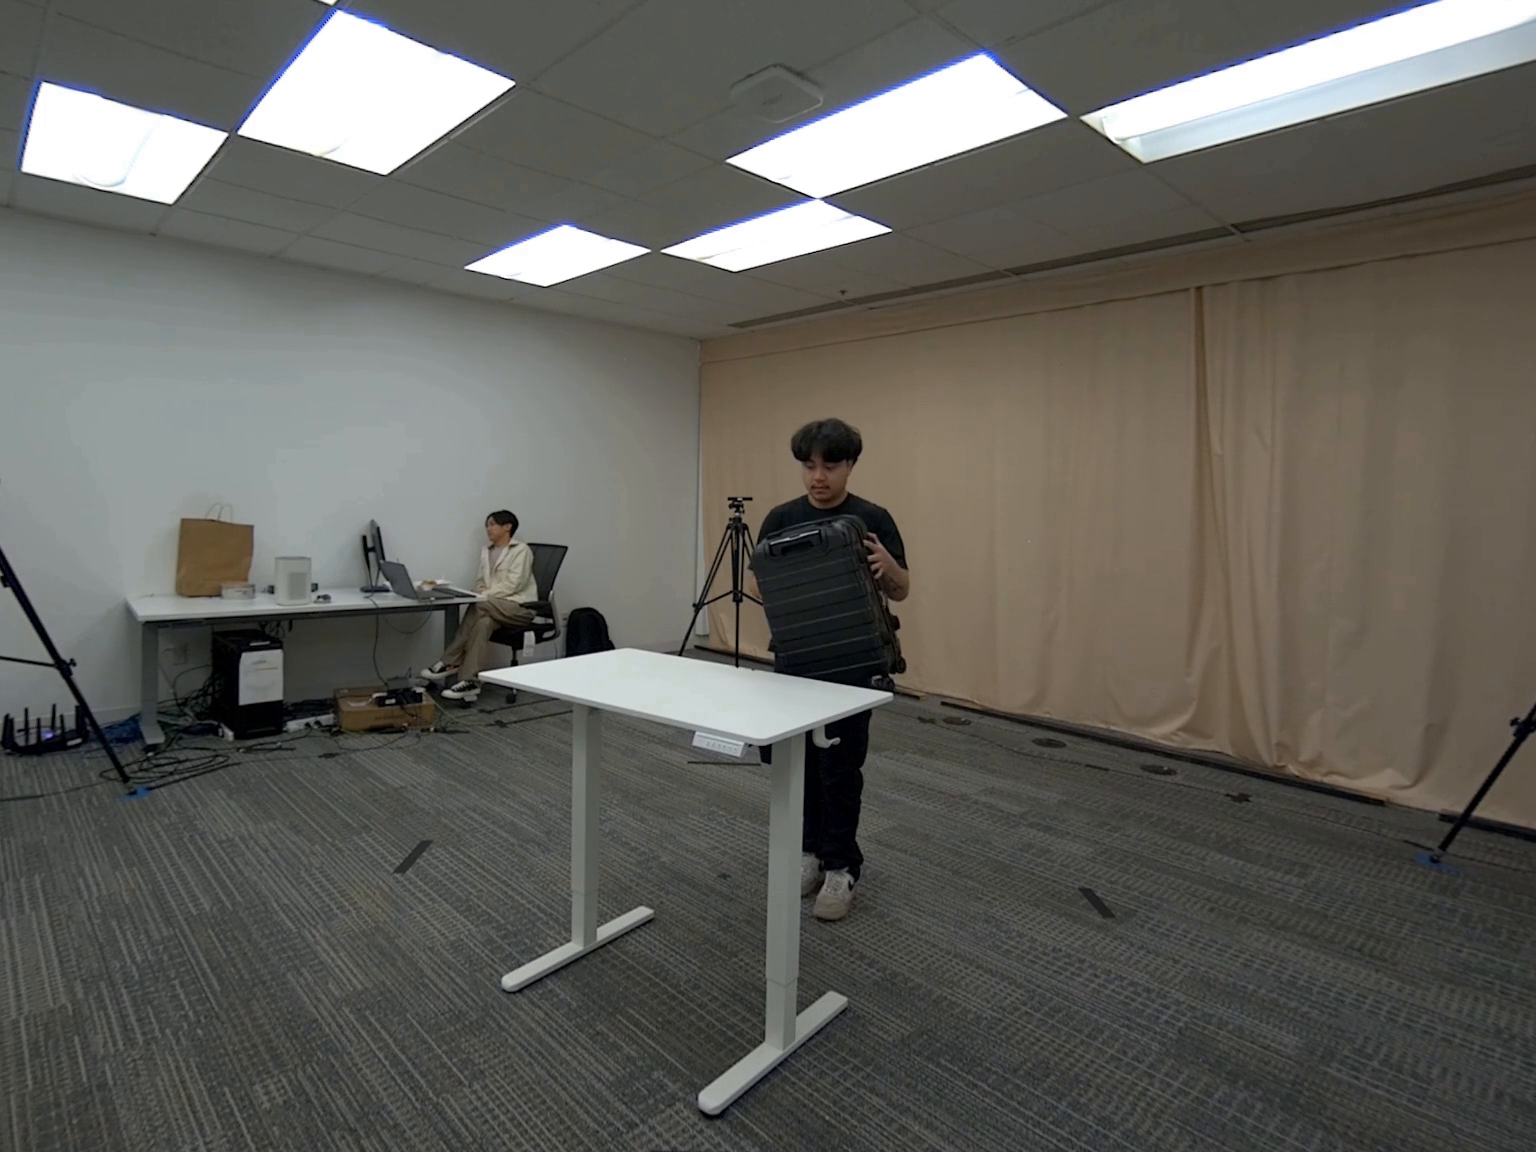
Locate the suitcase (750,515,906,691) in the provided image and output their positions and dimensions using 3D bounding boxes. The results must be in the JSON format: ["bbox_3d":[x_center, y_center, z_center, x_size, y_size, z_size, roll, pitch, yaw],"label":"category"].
[{"bbox_3d":[0.173,0.095,2.649,0.380,0.547,0.246,-16,4,24],"label":"suitcase"}]
